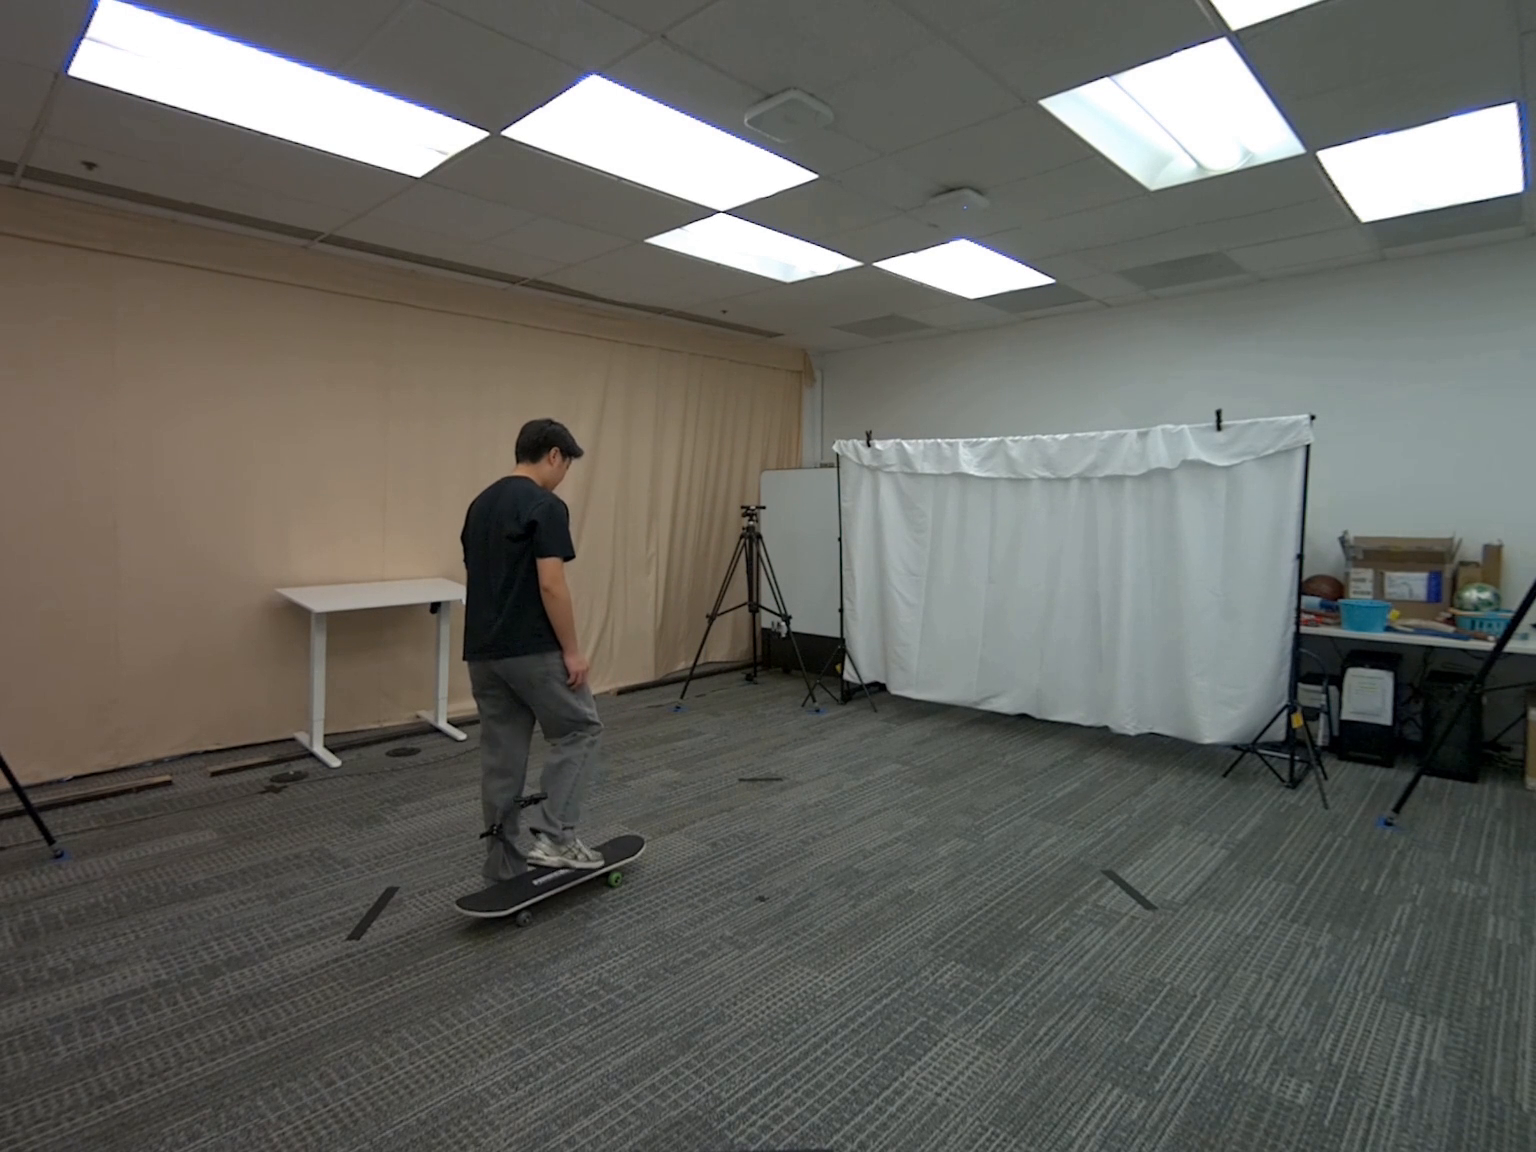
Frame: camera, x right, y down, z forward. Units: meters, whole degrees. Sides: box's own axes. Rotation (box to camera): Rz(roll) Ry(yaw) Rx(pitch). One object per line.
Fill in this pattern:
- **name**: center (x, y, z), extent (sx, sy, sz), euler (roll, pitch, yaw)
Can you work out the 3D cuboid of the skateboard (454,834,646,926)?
- **skateboard**: center (-0.746, 1.092, 2.995), extent (0.200, 0.110, 0.762), euler (3, 6, 40)
